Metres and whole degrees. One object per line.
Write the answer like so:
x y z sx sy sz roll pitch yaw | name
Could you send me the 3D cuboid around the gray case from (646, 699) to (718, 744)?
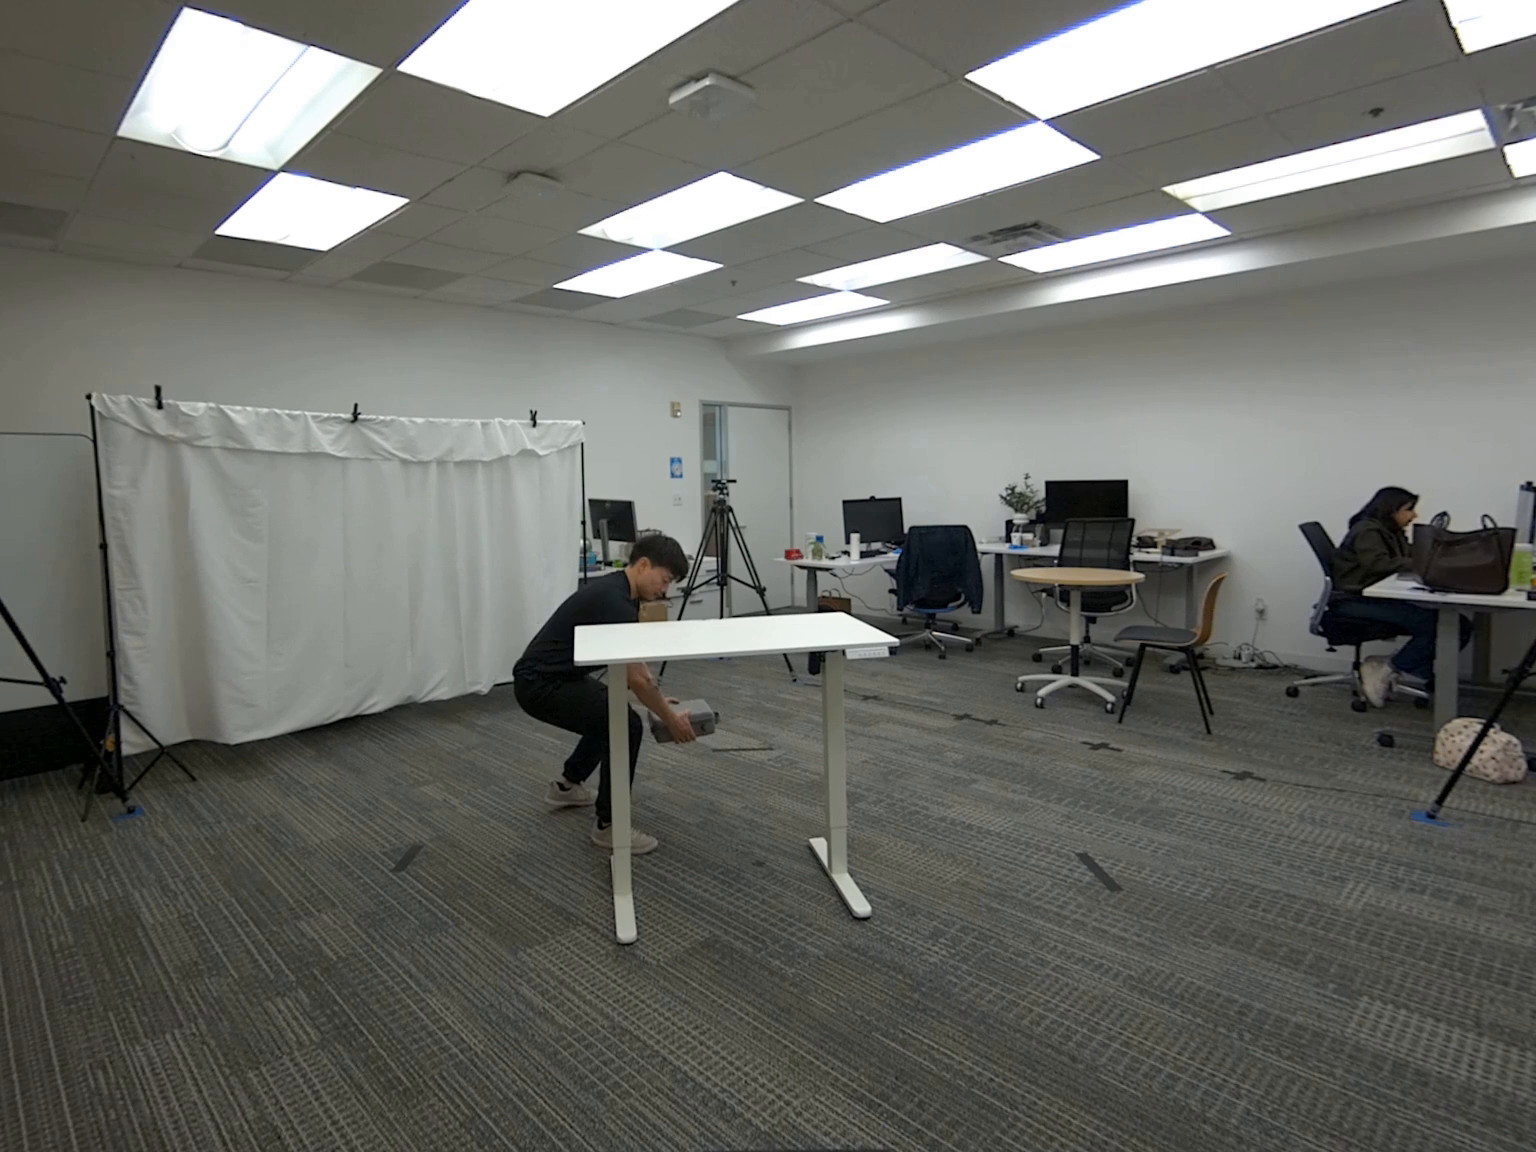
-0.359 0.589 3.541 0.259 0.104 0.259 -9 5 -6 | gray case
